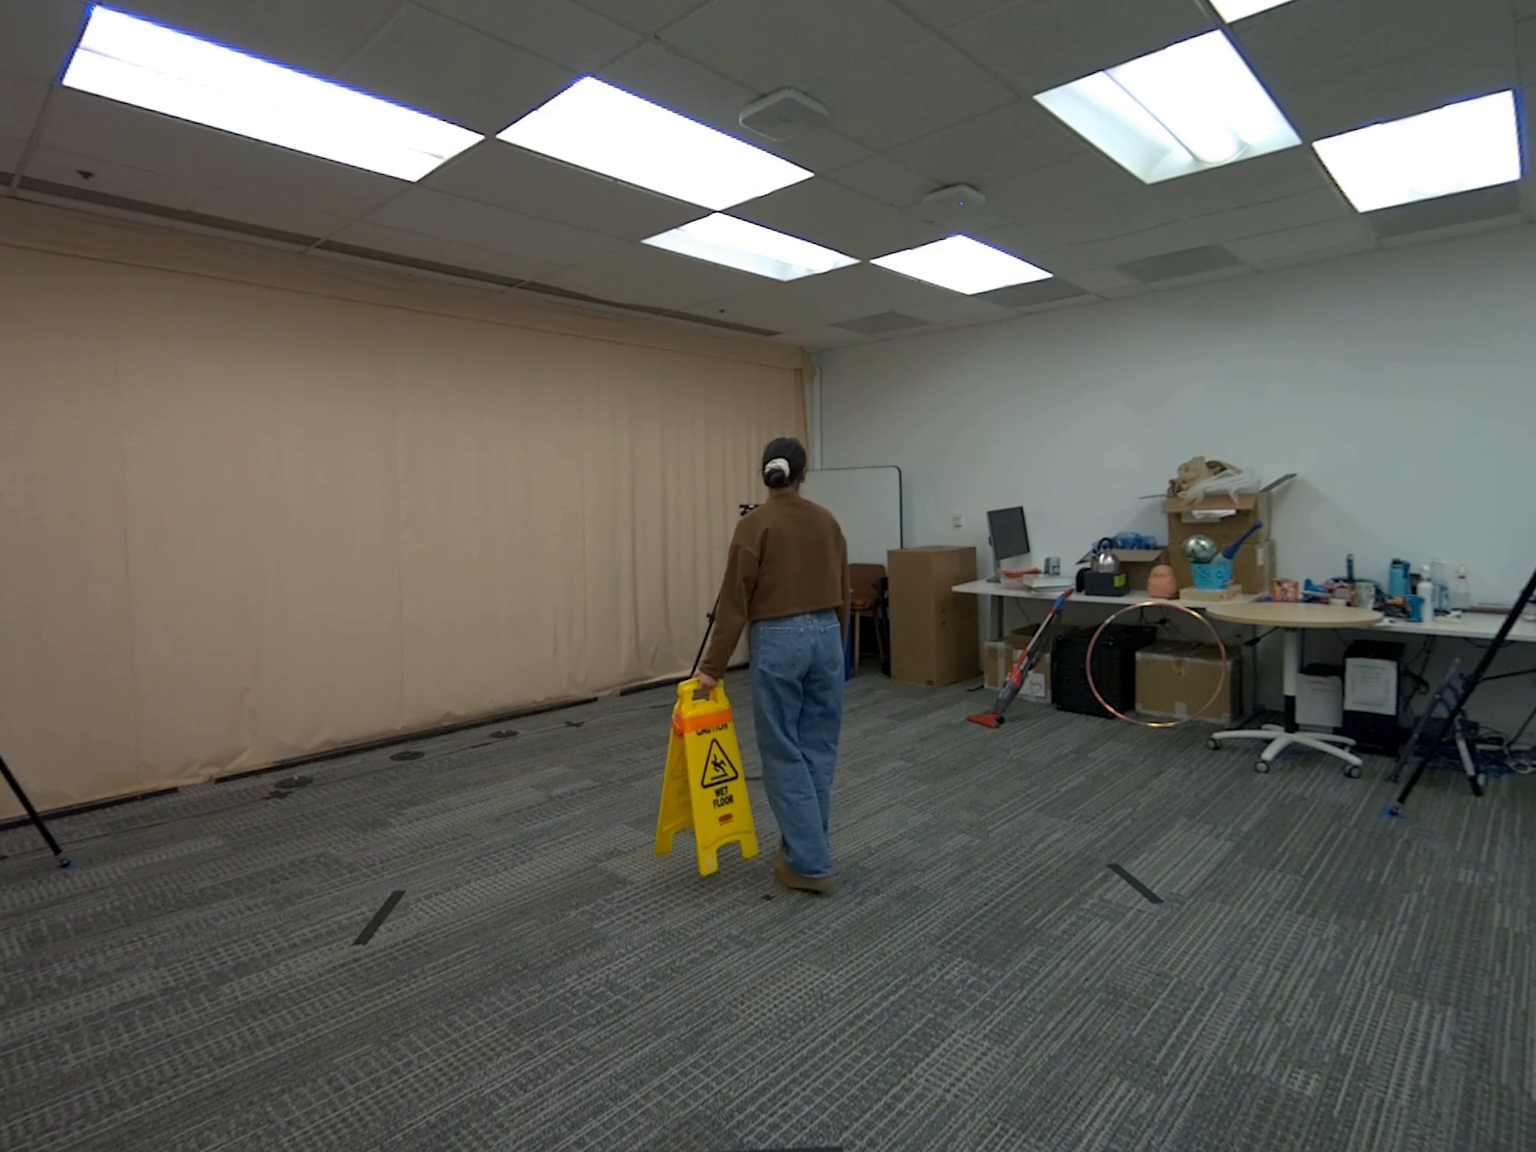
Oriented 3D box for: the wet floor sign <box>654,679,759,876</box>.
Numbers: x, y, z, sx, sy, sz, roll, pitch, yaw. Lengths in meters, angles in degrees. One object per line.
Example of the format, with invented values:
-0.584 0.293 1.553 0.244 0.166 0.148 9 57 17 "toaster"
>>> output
-0.230 0.701 3.067 0.274 0.645 0.299 -4 3 -44 "wet floor sign"
